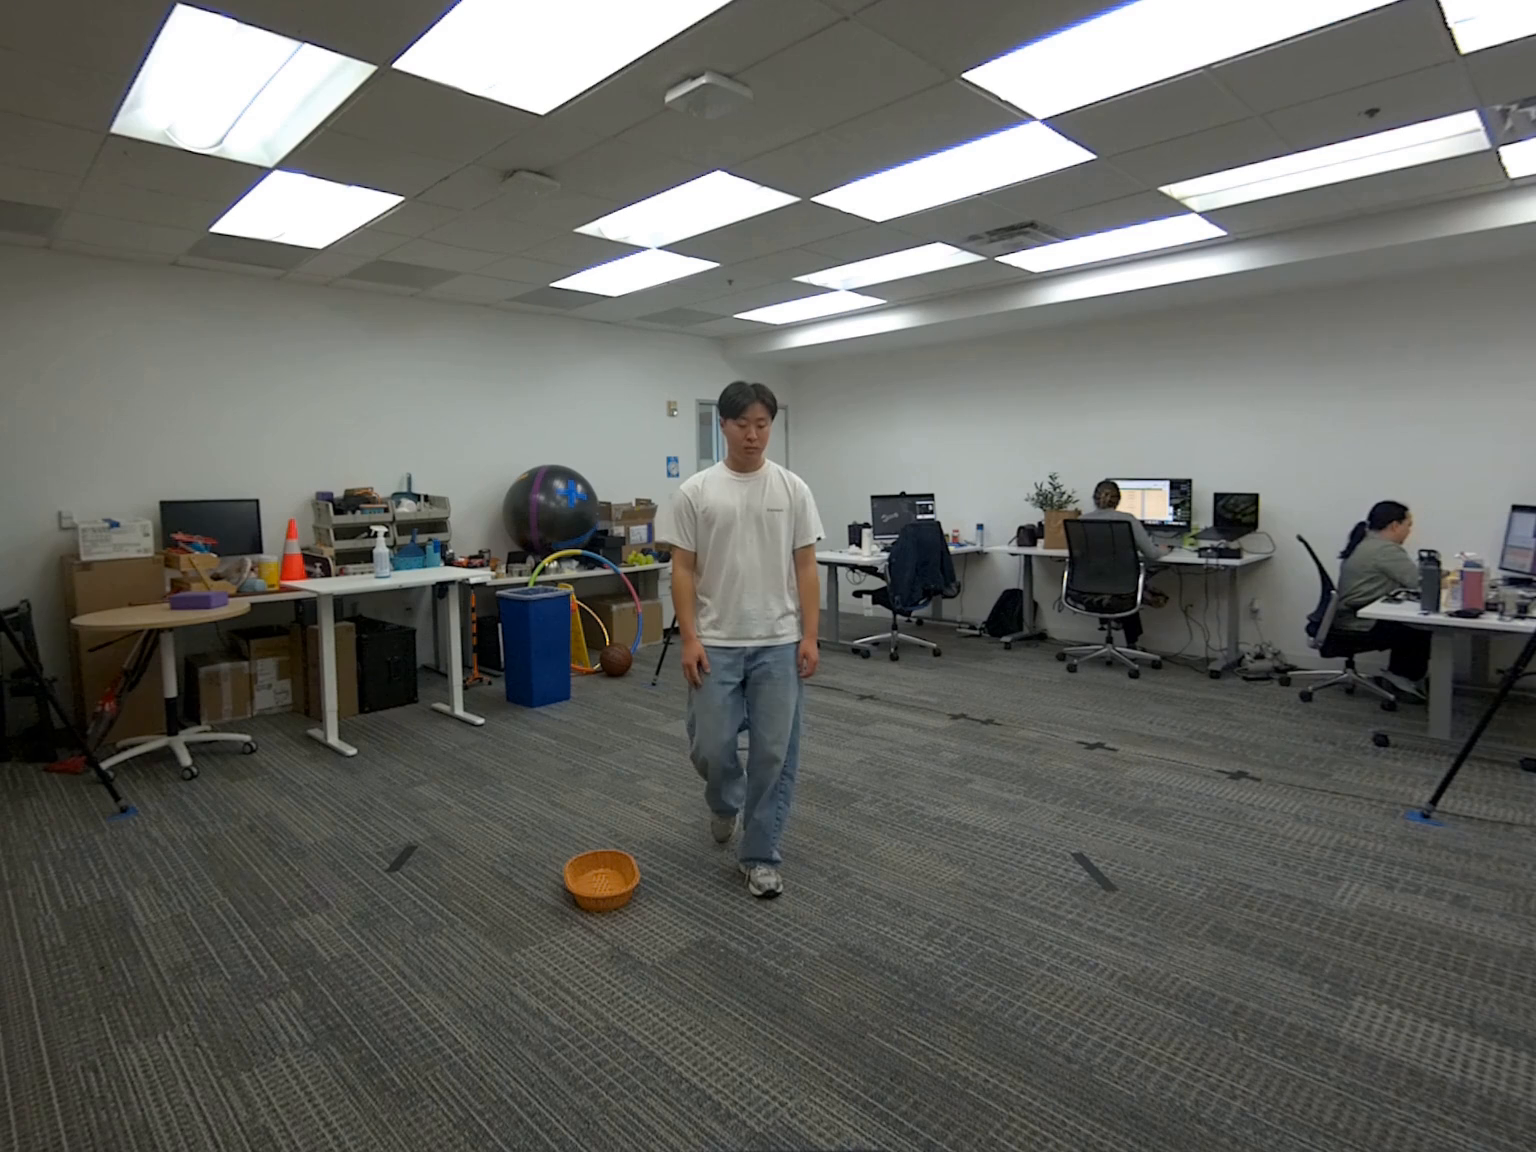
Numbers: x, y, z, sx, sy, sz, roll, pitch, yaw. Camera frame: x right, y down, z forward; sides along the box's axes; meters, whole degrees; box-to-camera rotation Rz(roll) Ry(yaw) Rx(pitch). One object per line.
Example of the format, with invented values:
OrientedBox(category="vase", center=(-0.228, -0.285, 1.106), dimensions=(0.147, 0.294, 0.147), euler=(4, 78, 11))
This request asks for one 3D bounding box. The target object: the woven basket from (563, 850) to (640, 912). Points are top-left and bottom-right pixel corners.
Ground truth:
OrientedBox(category="woven basket", center=(-0.567, 1.039, 2.914), dimensions=(0.249, 0.073, 0.357), euler=(-3, 7, -15))
